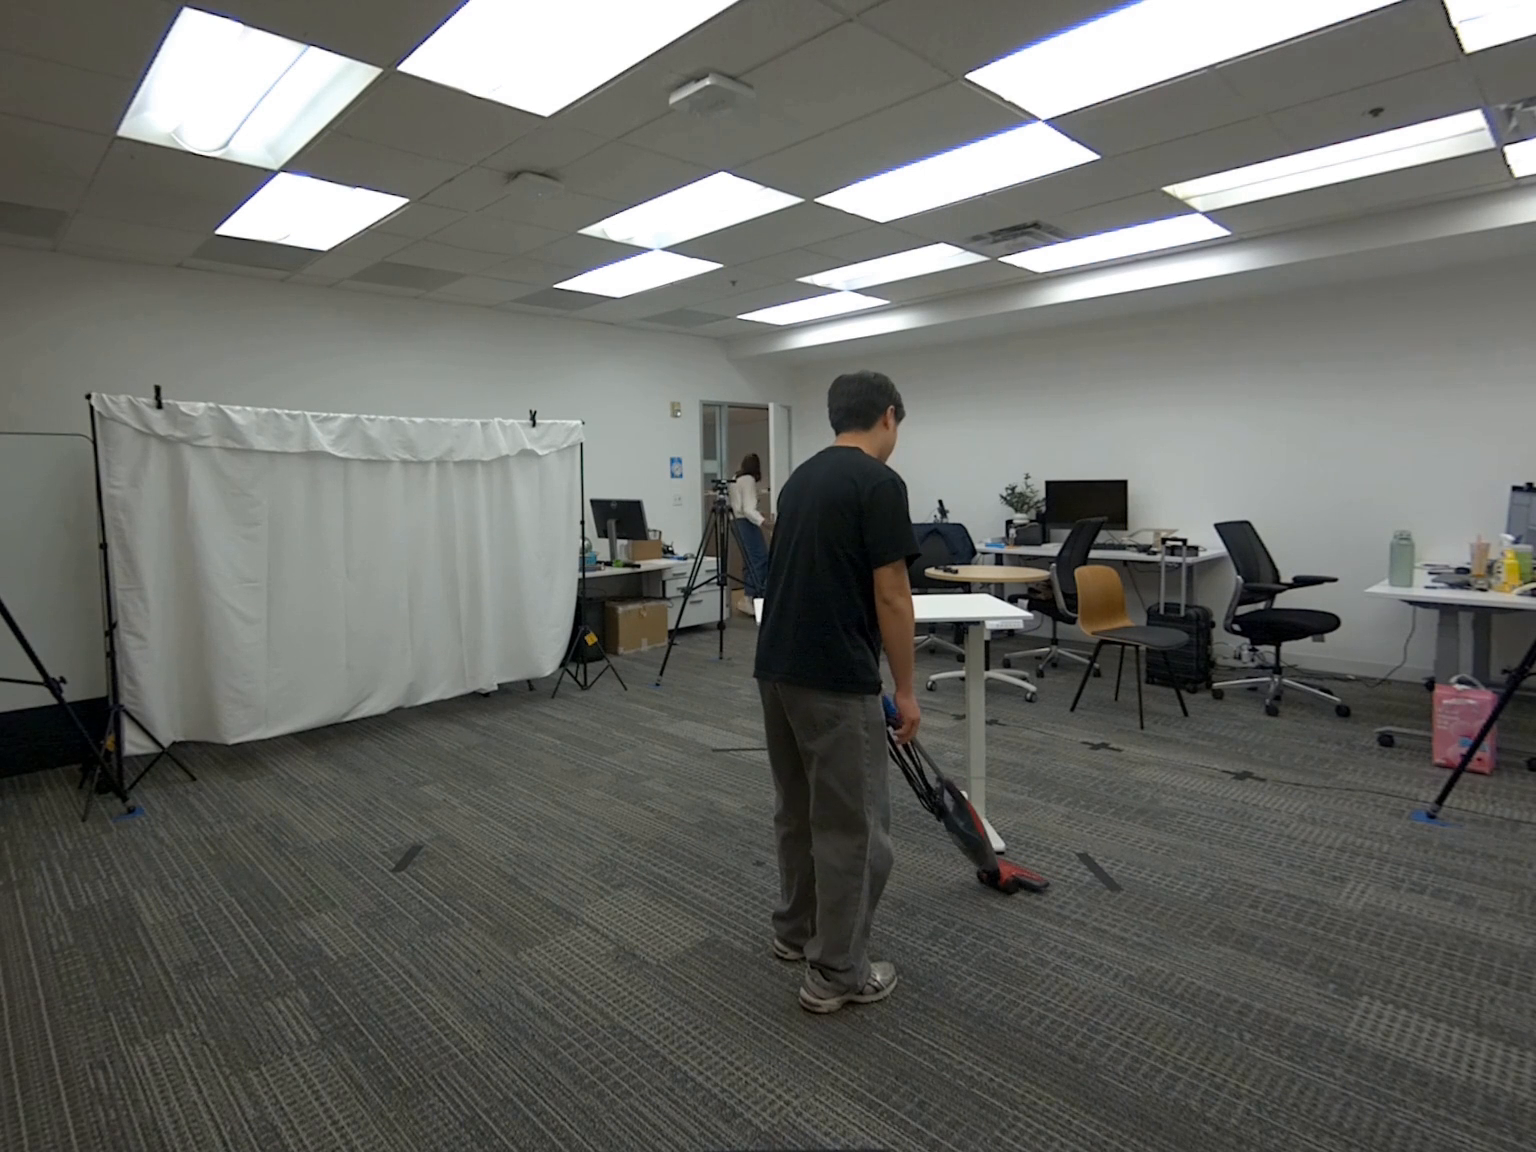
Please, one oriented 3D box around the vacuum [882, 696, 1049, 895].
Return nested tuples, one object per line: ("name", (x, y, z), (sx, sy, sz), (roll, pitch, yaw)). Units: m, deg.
("vacuum", (0.546, 0.686, 2.702), (0.260, 1.016, 0.144), (3, 48, 52))
